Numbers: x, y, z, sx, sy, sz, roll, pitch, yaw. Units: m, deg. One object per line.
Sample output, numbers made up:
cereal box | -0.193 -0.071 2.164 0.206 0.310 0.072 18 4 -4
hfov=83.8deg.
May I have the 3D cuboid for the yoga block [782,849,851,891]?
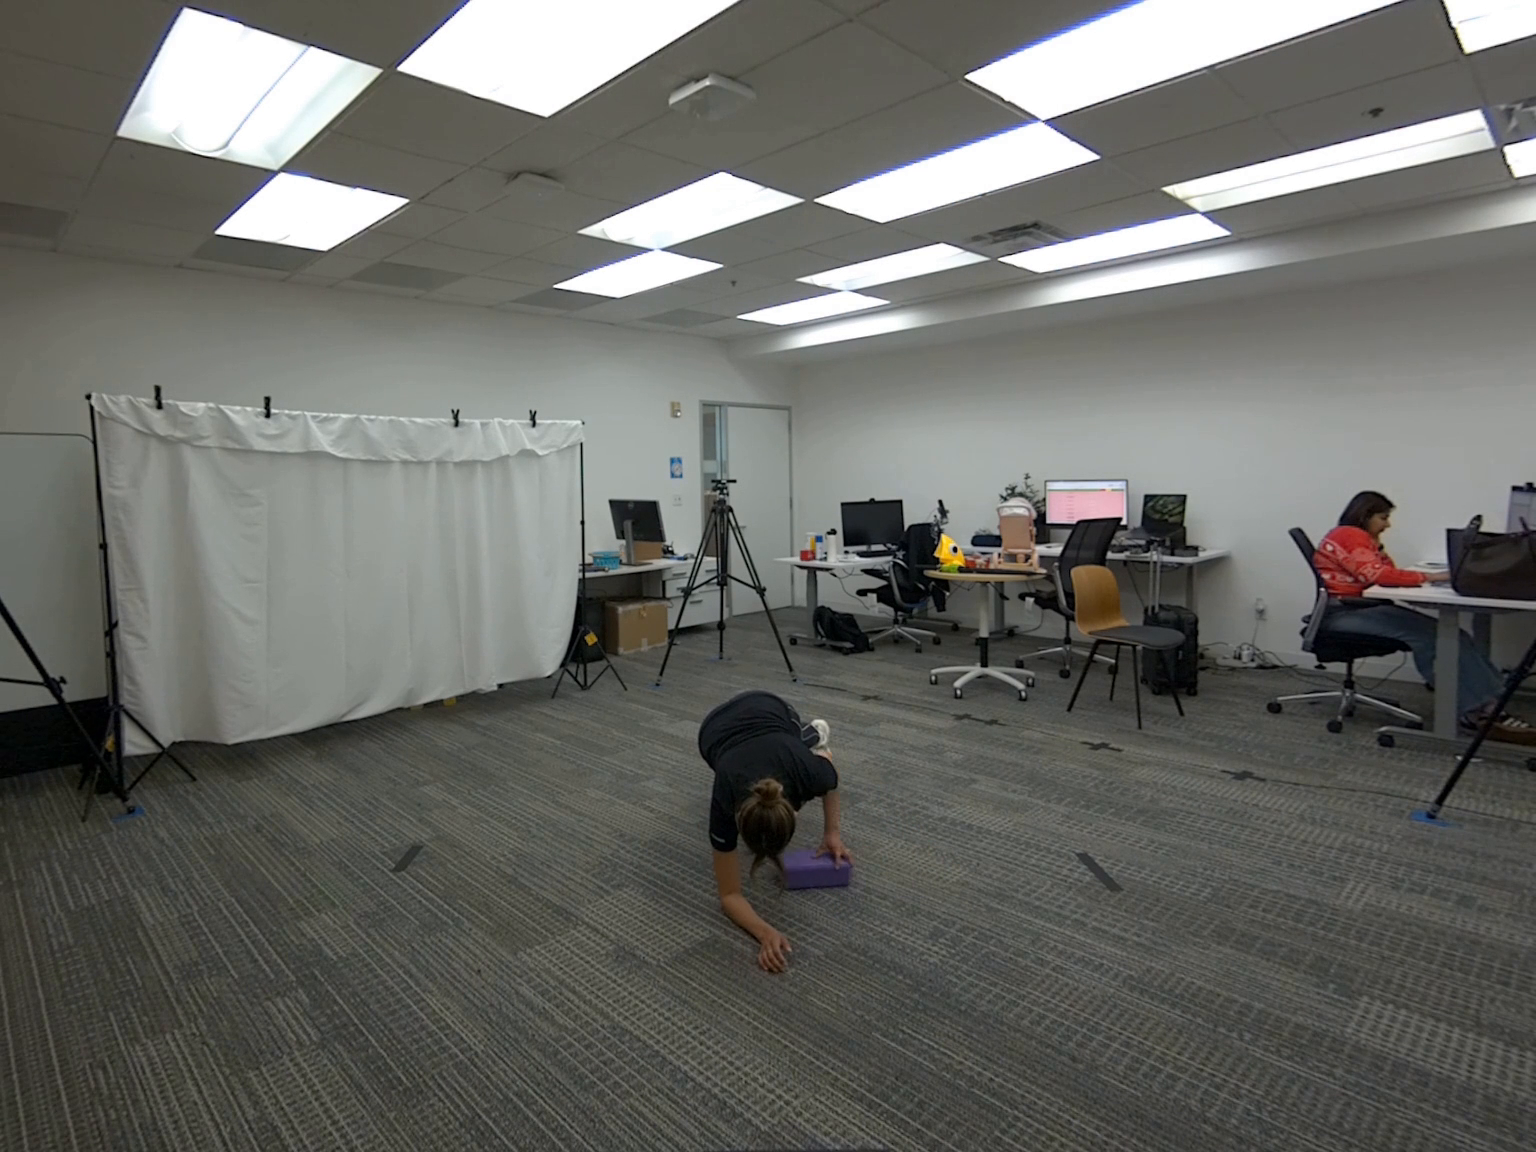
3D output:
yoga block | 0.163 1.023 2.982 0.228 0.076 0.150 0 5 -5
